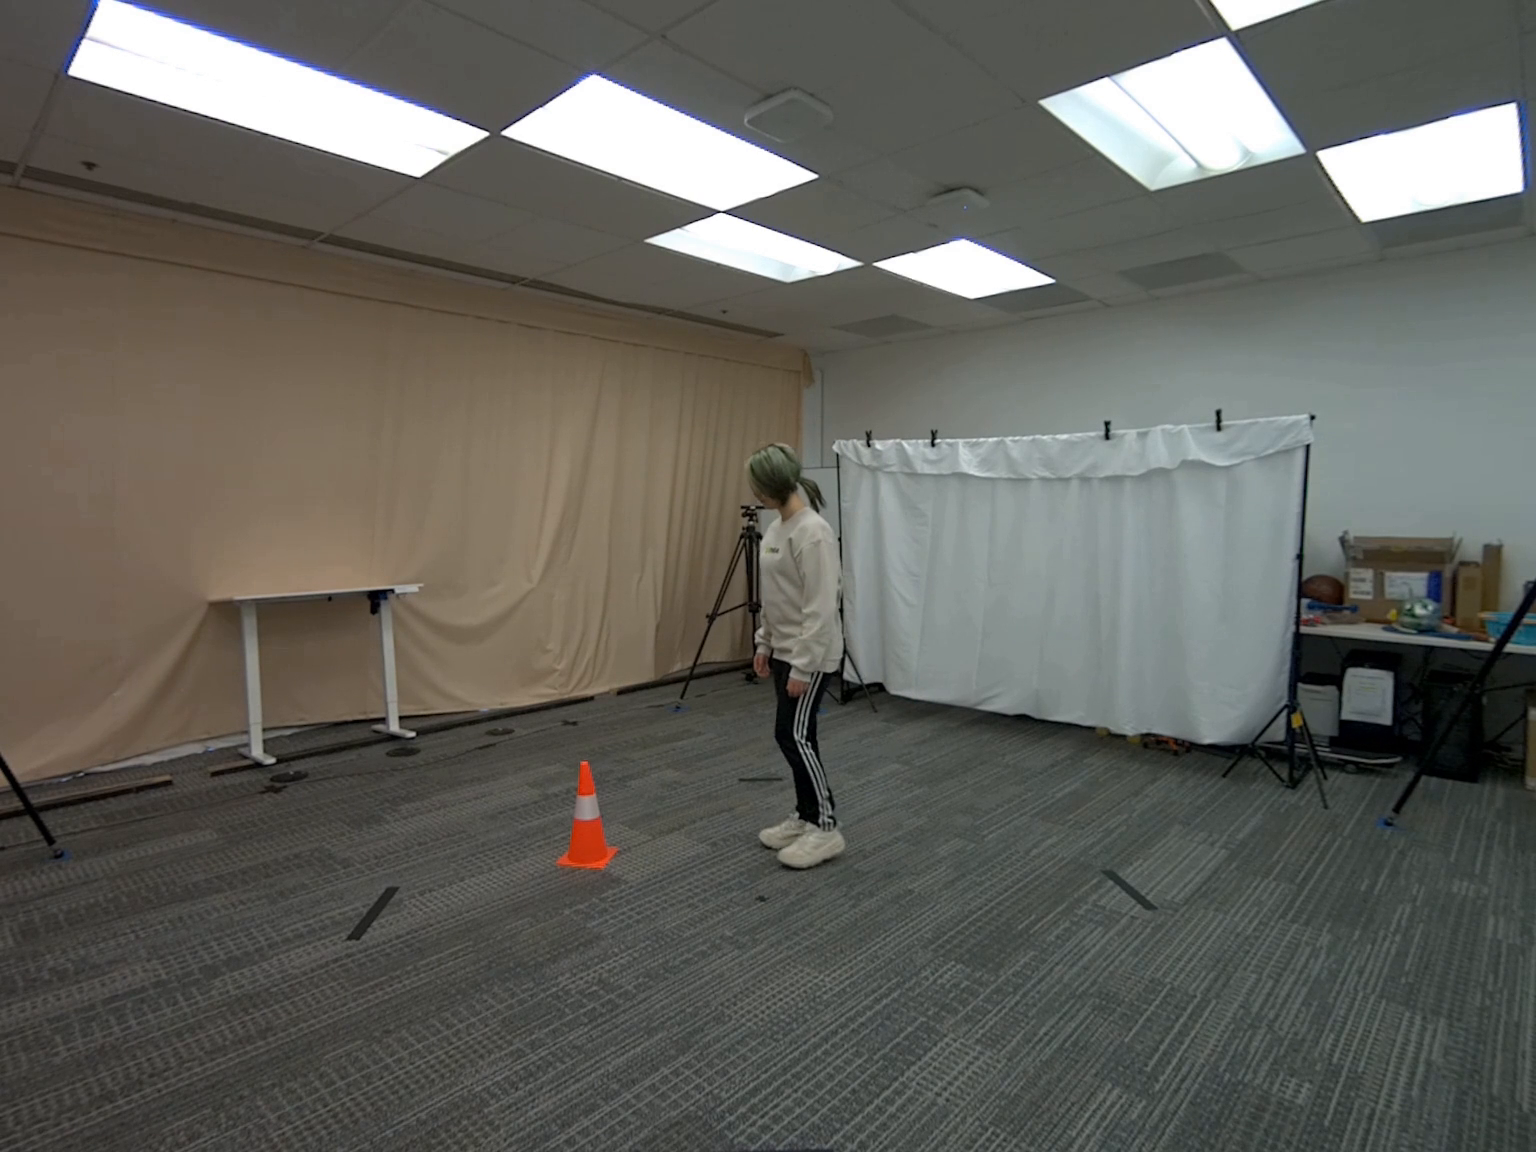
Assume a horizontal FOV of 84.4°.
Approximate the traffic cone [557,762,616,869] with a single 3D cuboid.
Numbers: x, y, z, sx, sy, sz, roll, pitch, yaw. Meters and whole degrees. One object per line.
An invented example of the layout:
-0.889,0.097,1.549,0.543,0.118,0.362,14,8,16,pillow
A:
-0.728,0.938,3.350,0.207,0.383,0.201,-1,3,10,traffic cone
